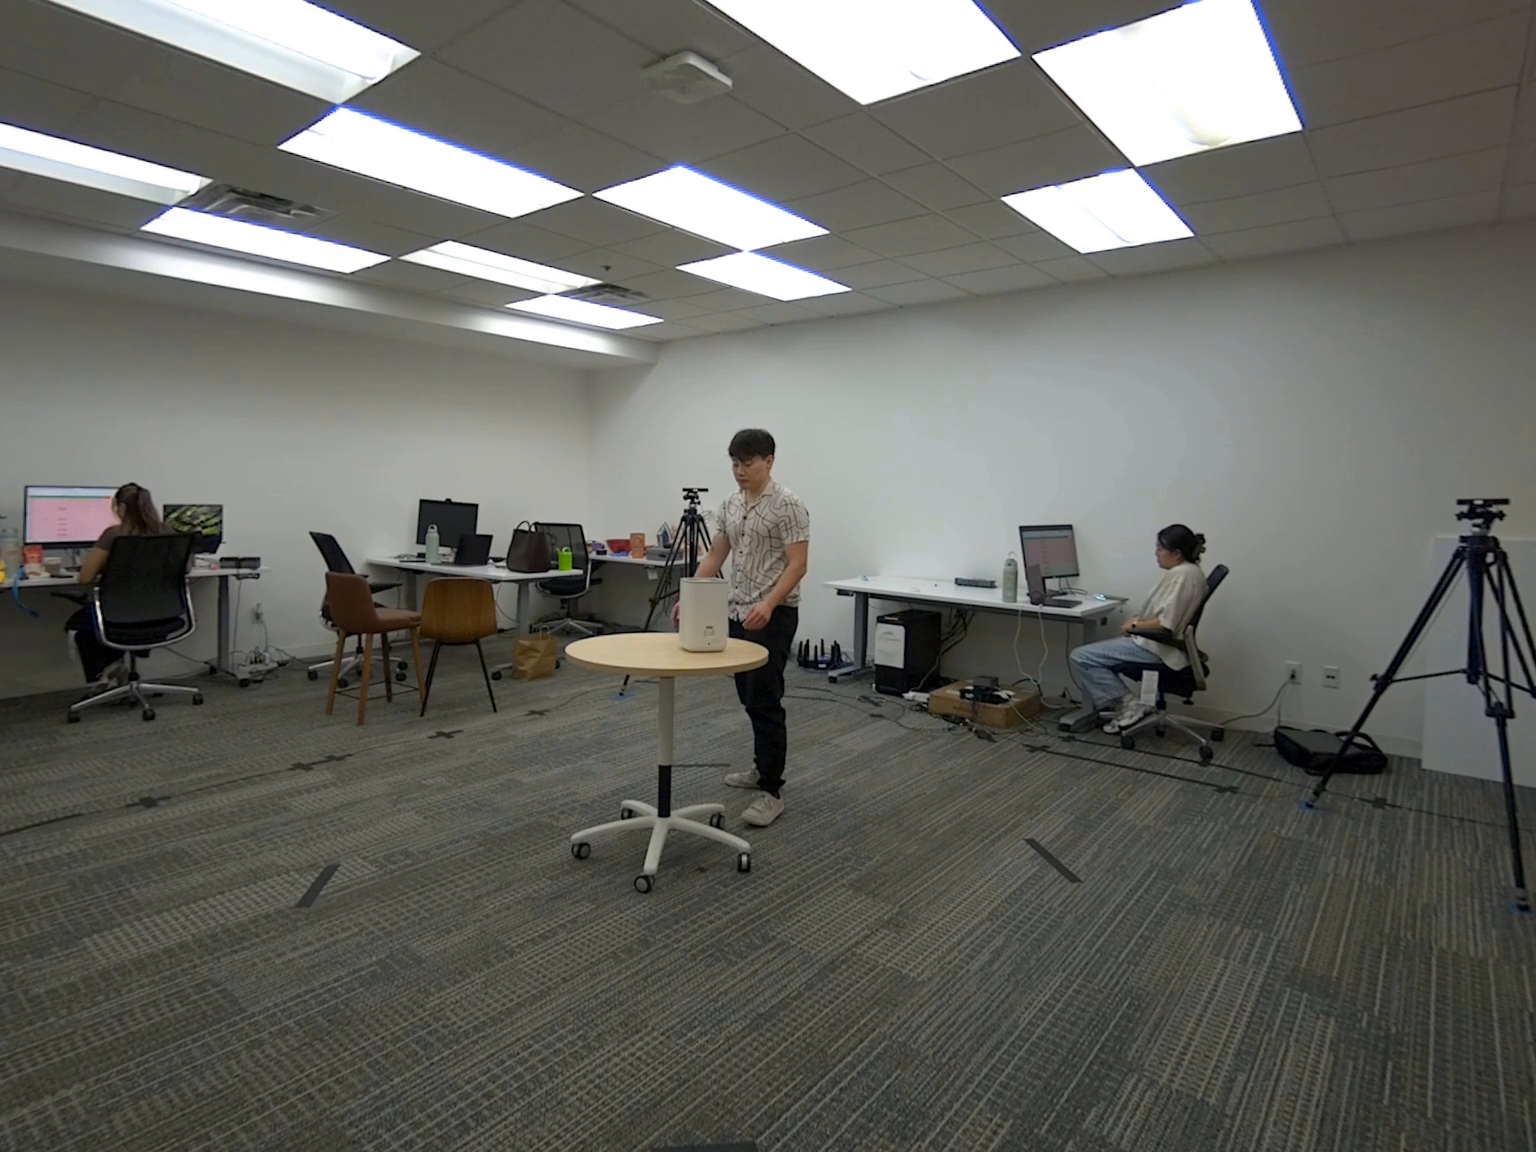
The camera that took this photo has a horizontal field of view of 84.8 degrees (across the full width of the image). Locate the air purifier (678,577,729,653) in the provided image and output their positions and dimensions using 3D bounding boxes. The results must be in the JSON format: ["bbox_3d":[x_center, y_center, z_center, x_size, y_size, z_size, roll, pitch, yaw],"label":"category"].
[{"bbox_3d":[-0.256,0.146,3.233,0.168,0.265,0.175,0,2,-16],"label":"air purifier"}]
